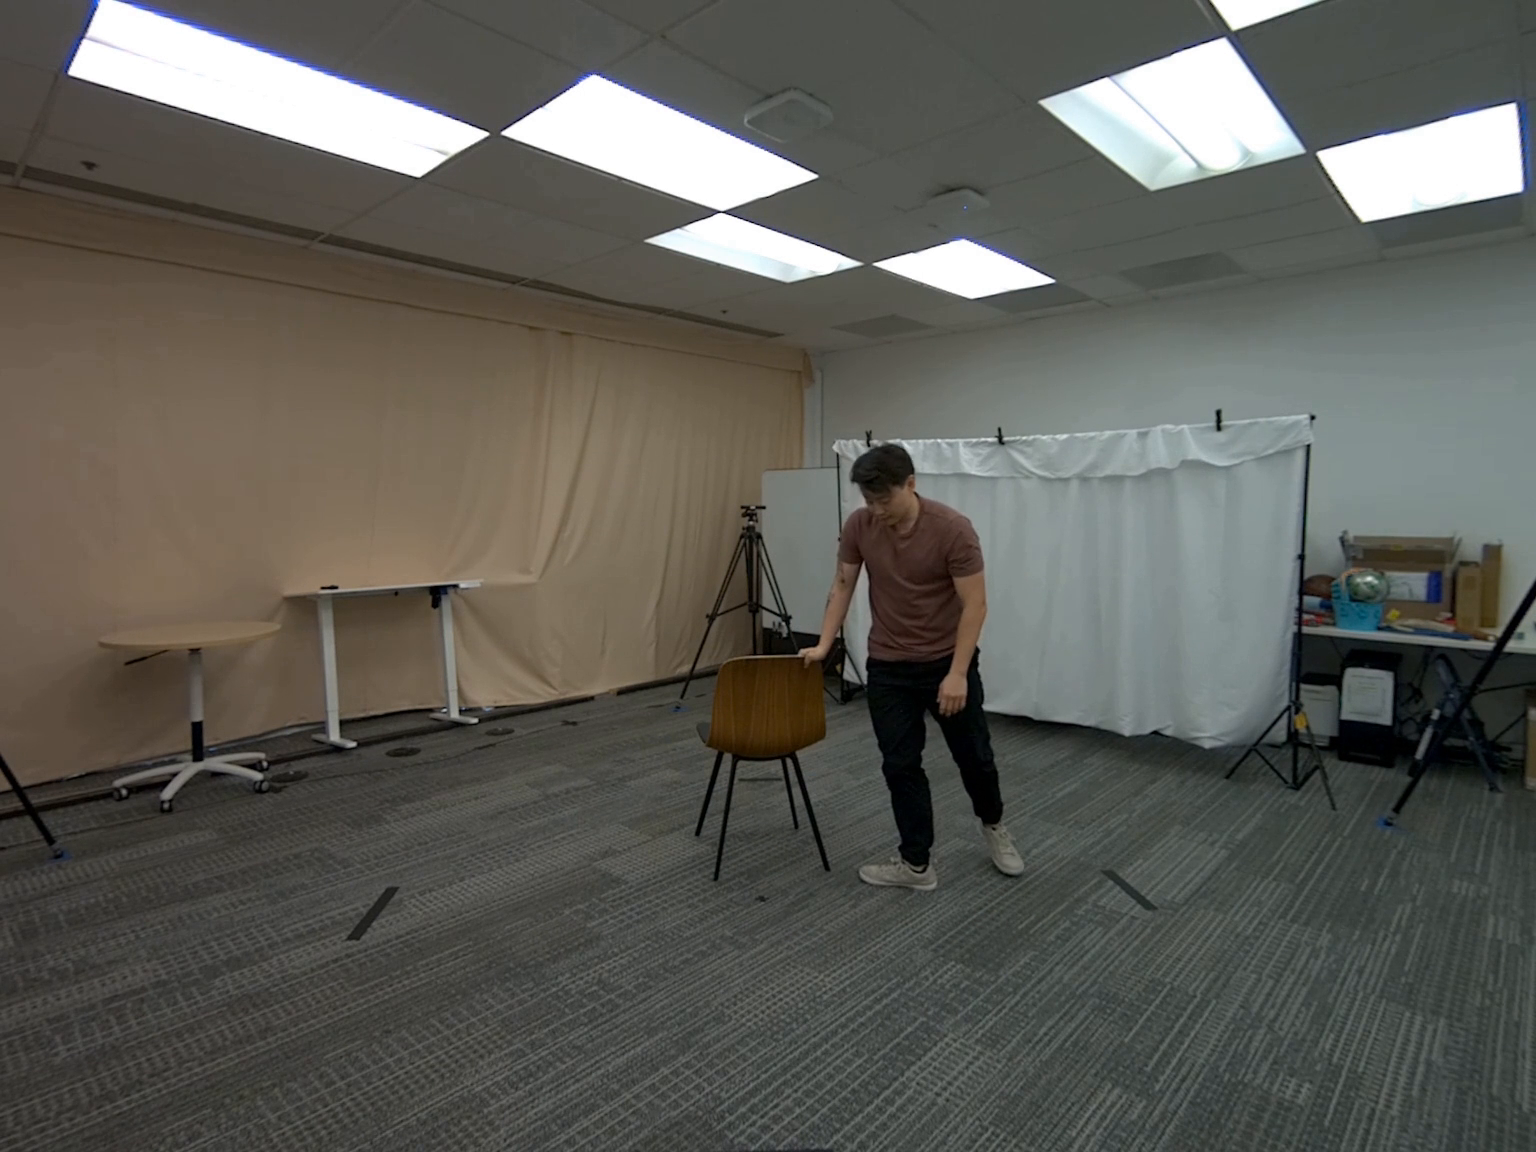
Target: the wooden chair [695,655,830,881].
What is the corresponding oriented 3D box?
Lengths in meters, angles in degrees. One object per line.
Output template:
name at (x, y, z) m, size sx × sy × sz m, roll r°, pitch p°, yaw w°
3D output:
wooden chair at (-0.041, 0.687, 3.362) m, size 0.472 × 0.873 × 0.532 m, roll -2°, pitch 8°, yaw -12°
